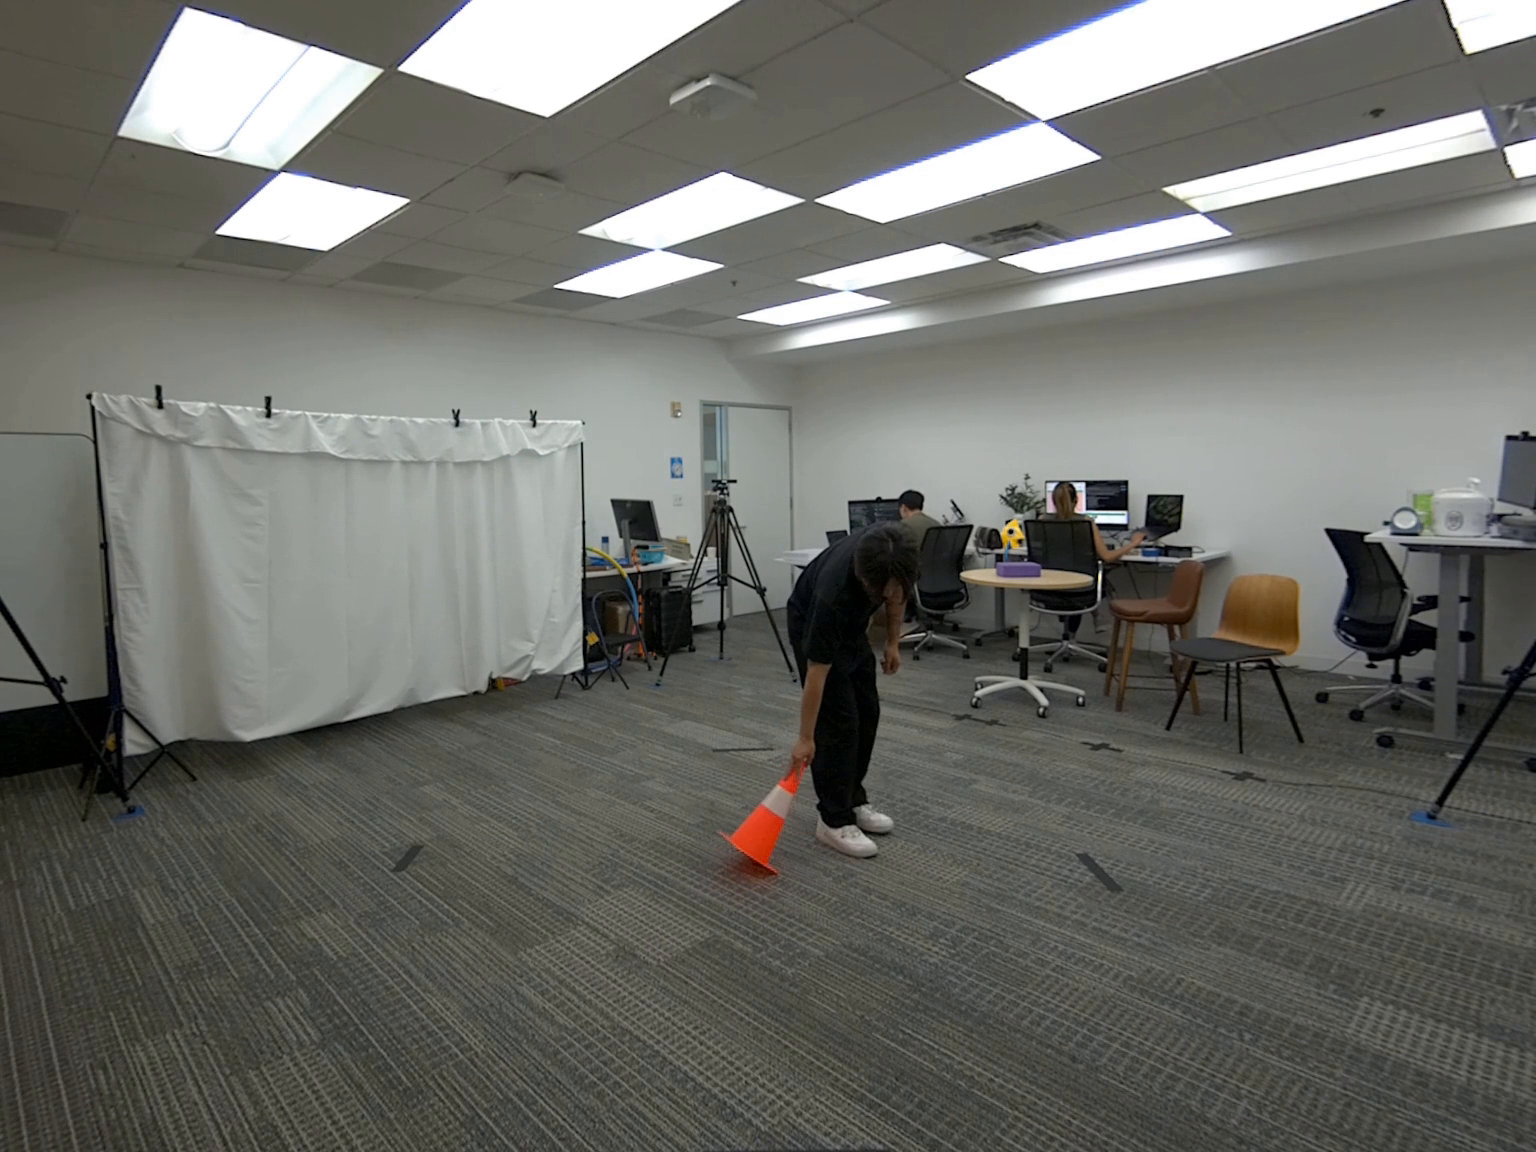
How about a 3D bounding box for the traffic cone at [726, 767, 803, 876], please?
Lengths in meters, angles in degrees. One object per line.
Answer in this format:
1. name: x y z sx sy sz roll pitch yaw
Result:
1. traffic cone: 0.026 0.838 3.109 0.200 0.385 0.208 35 -11 -22
